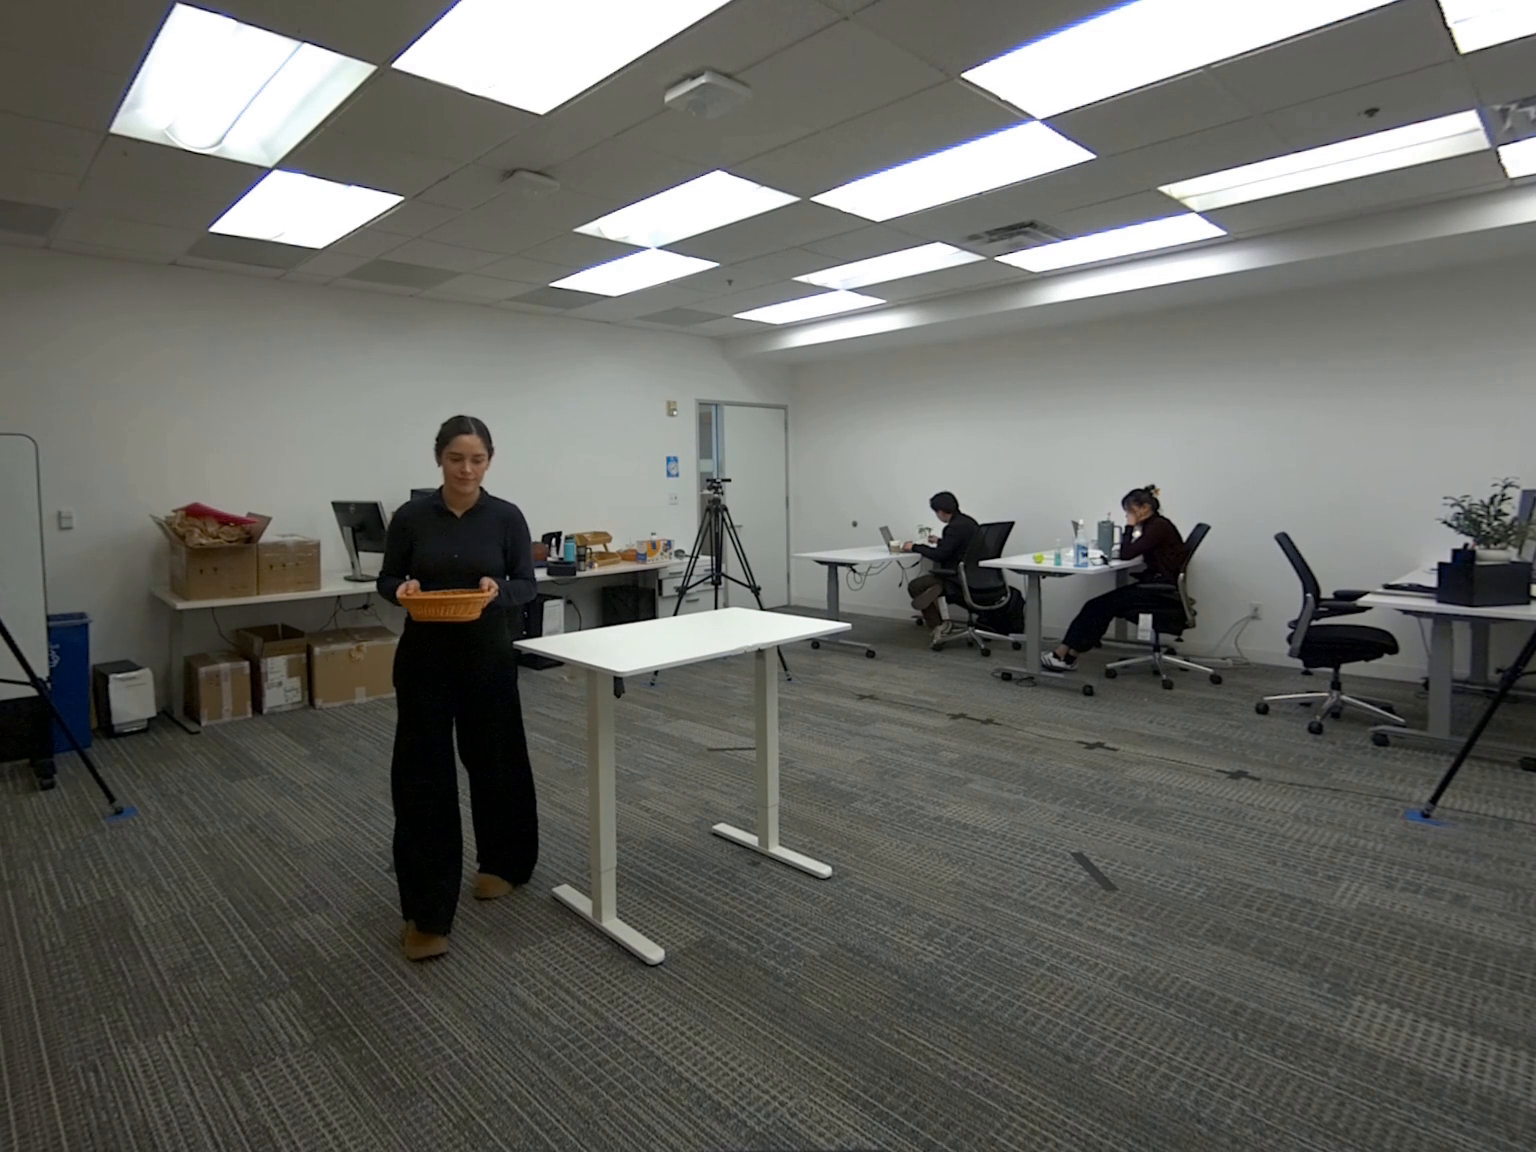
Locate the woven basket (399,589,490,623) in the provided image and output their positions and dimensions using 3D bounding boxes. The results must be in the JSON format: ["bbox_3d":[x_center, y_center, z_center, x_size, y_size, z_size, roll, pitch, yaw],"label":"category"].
[{"bbox_3d":[-0.963,0.084,2.460,0.249,0.073,0.356,-1,5,-14],"label":"woven basket"}]
